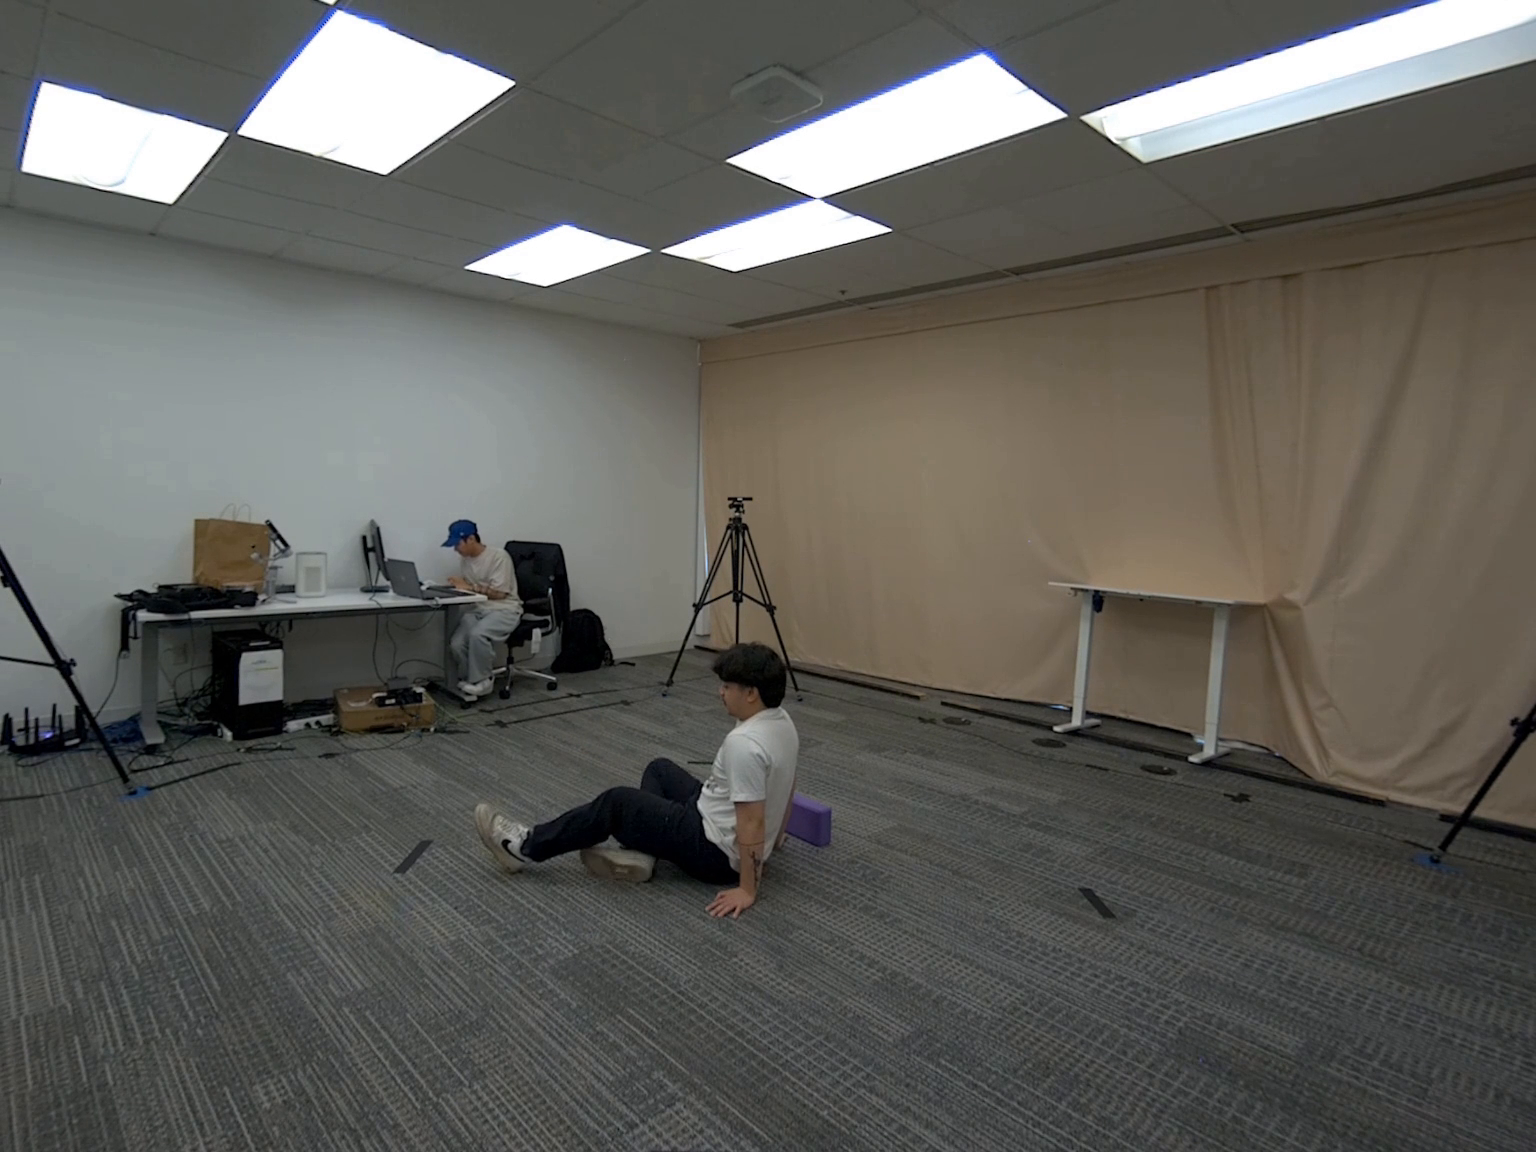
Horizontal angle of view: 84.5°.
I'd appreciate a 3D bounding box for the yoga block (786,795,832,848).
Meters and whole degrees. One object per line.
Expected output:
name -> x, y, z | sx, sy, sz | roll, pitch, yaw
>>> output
yoga block -> 0.150, 1.006, 3.489 | 0.074, 0.149, 0.235 | 3, 2, -38
